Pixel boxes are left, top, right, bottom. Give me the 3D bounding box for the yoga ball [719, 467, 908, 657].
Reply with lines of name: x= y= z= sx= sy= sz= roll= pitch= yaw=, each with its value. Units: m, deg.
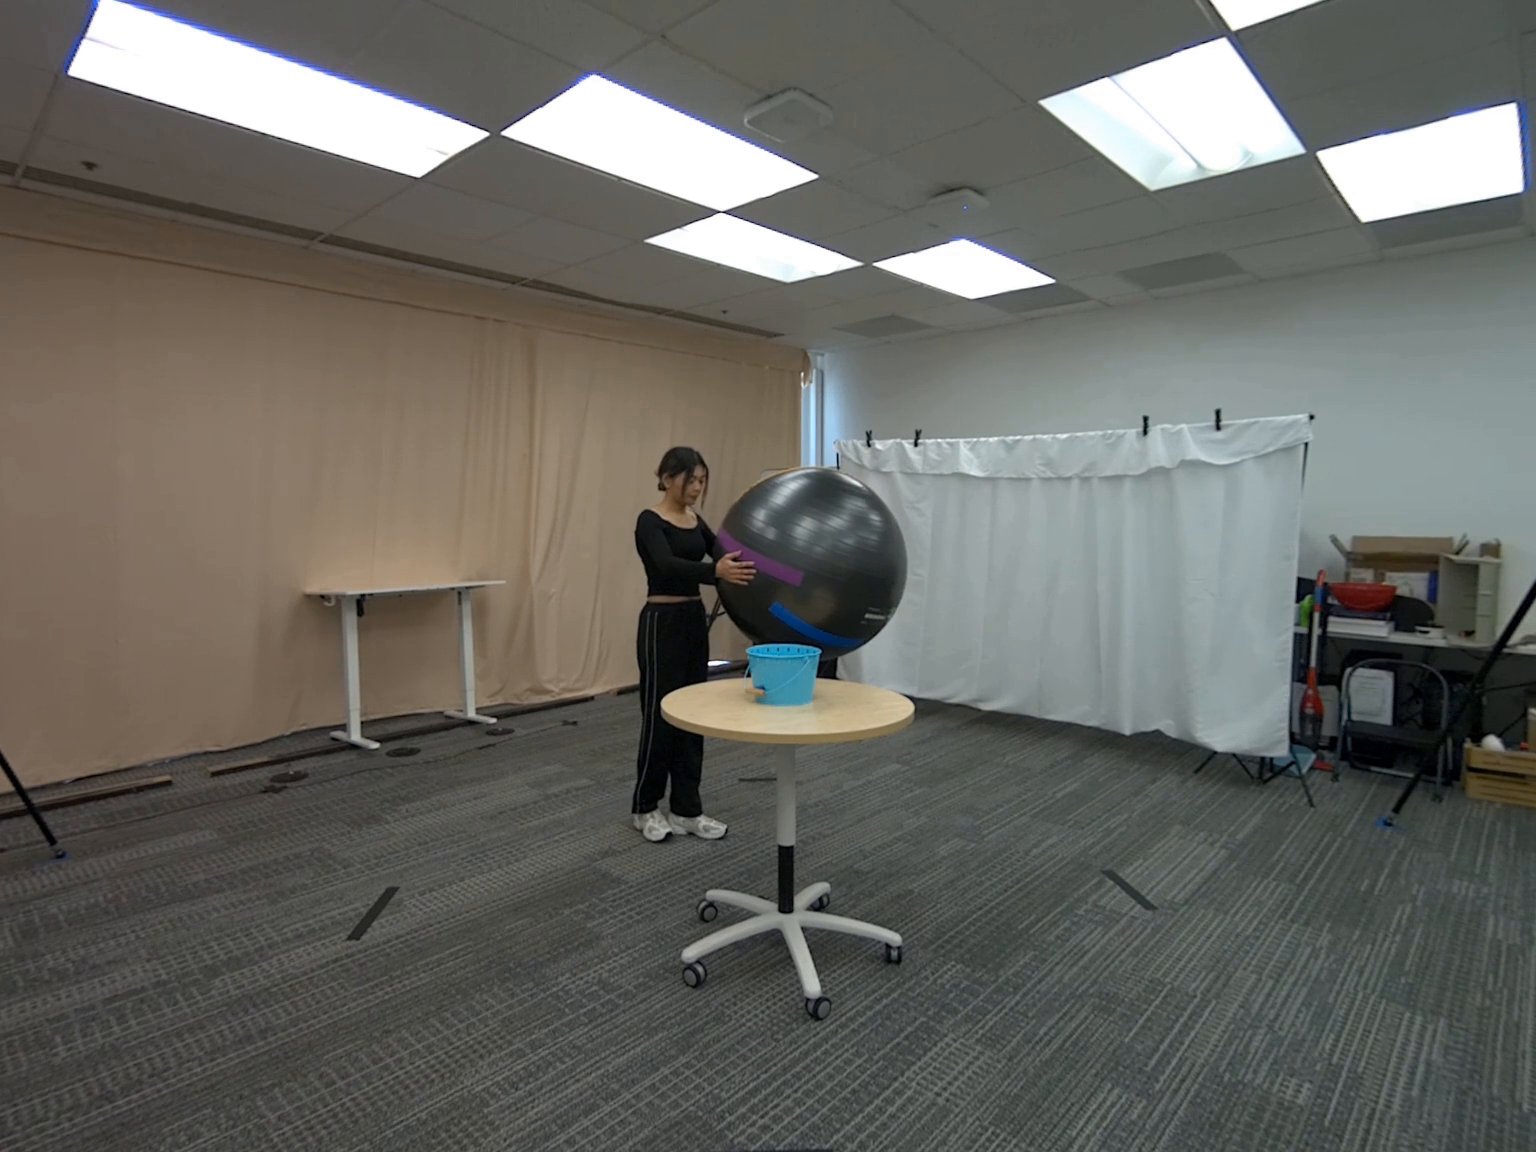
yoga ball: x=0.170 y=-0.039 z=3.329 sx=0.757 sy=0.756 sz=0.760 roll=0 pitch=4 yaw=-2
